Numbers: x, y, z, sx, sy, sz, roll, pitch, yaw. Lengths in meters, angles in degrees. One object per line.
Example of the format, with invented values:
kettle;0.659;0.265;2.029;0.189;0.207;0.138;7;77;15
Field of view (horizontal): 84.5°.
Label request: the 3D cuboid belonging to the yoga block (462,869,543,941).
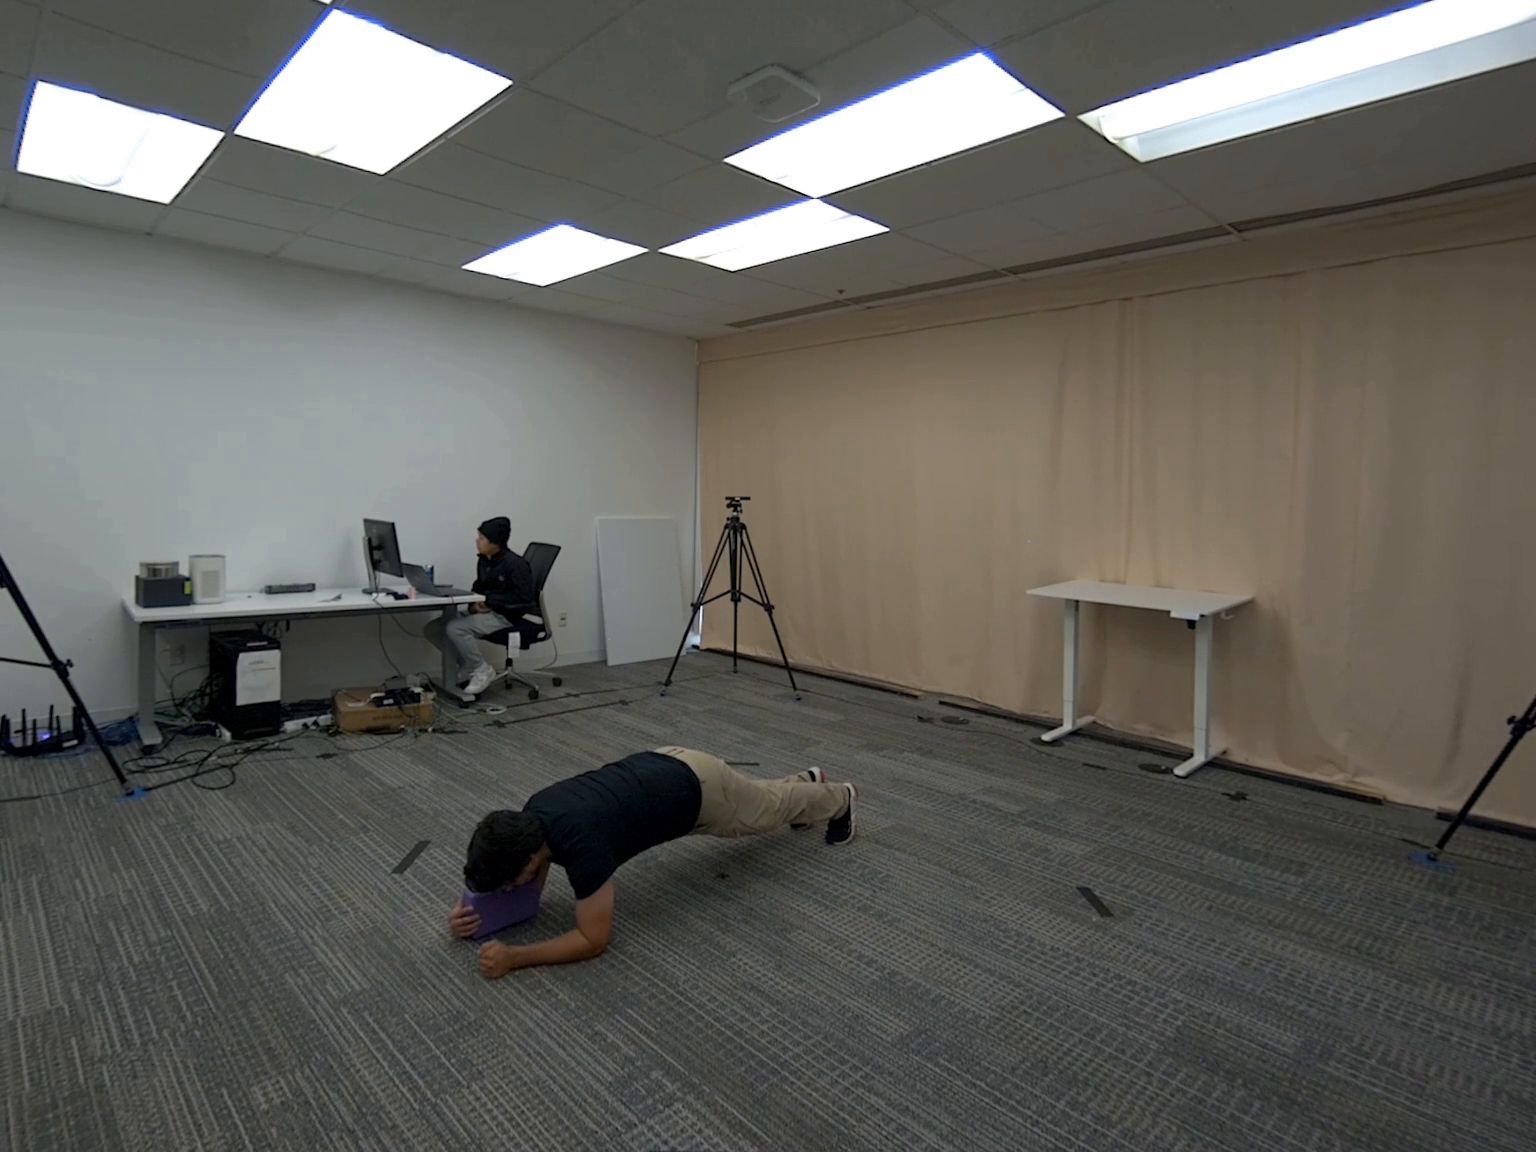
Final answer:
yoga block;-0.866;1.046;2.694;0.225;0.148;0.078;-8;13;-40
